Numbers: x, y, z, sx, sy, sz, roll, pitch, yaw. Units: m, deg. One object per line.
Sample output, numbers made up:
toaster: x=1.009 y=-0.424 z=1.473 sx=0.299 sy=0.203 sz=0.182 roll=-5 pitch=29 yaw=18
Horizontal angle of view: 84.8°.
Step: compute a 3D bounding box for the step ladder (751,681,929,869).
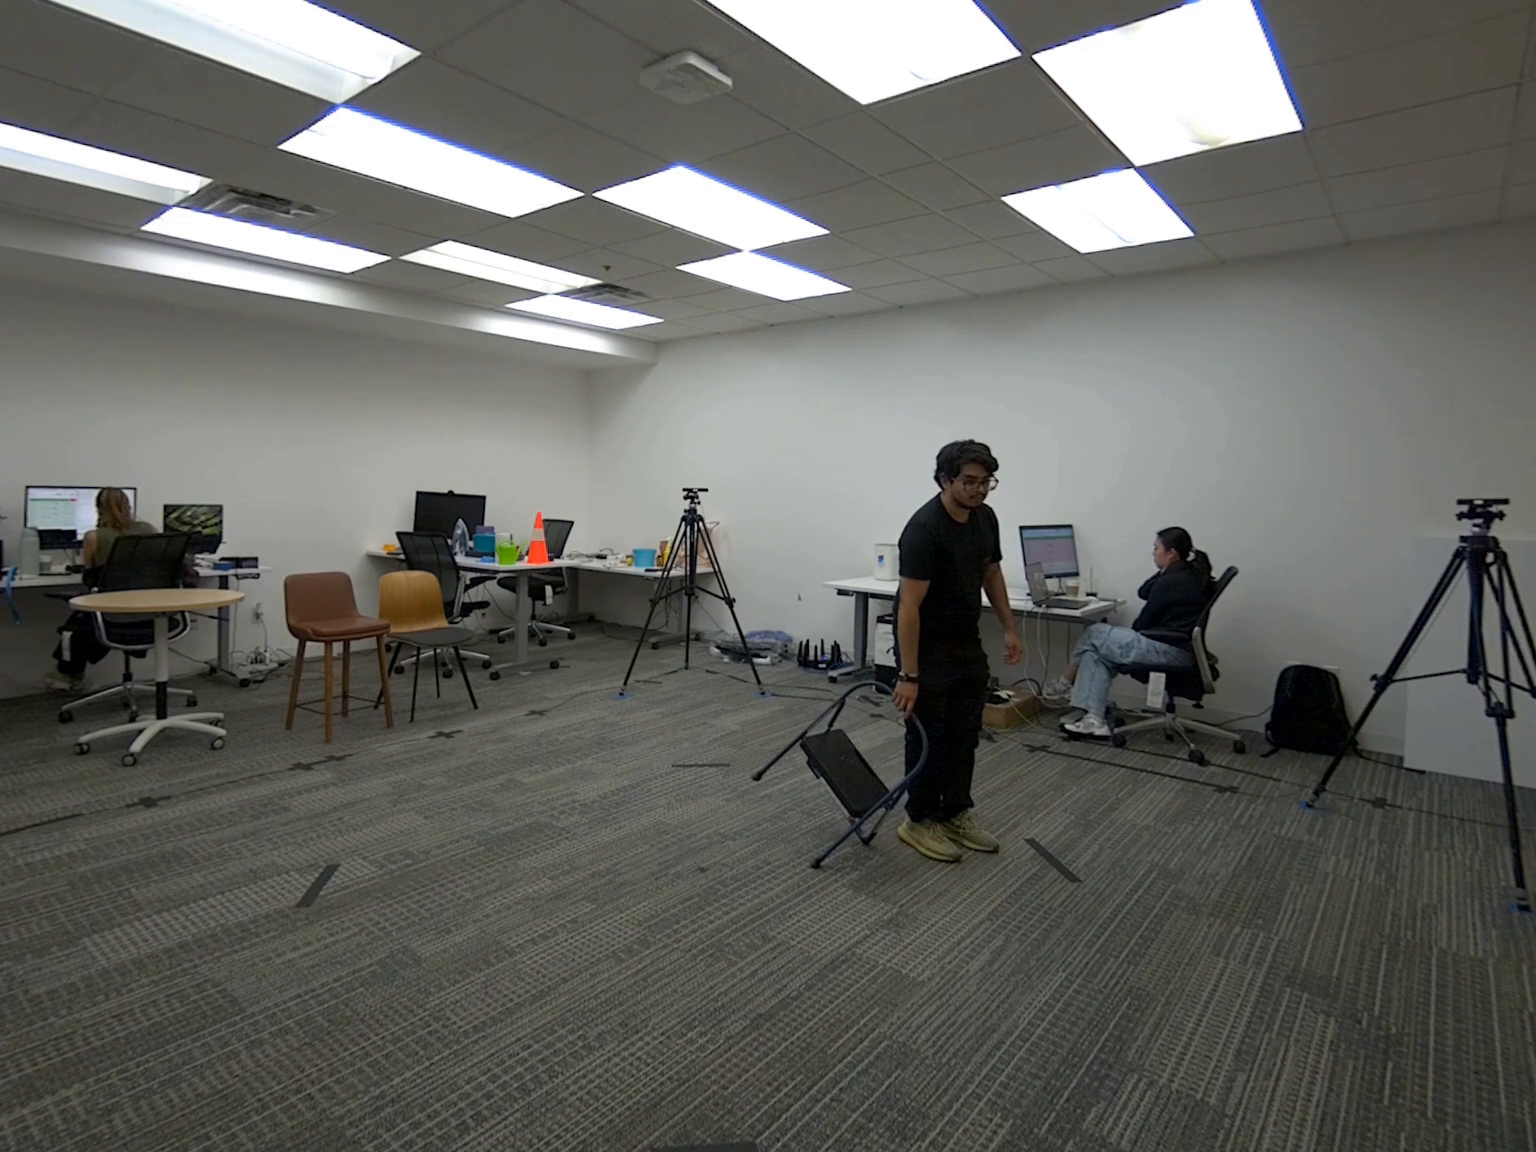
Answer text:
step ladder: x=0.305 y=0.706 z=3.229 sx=0.338 sy=0.602 sz=0.447 roll=-2 pitch=43 yaw=-47
